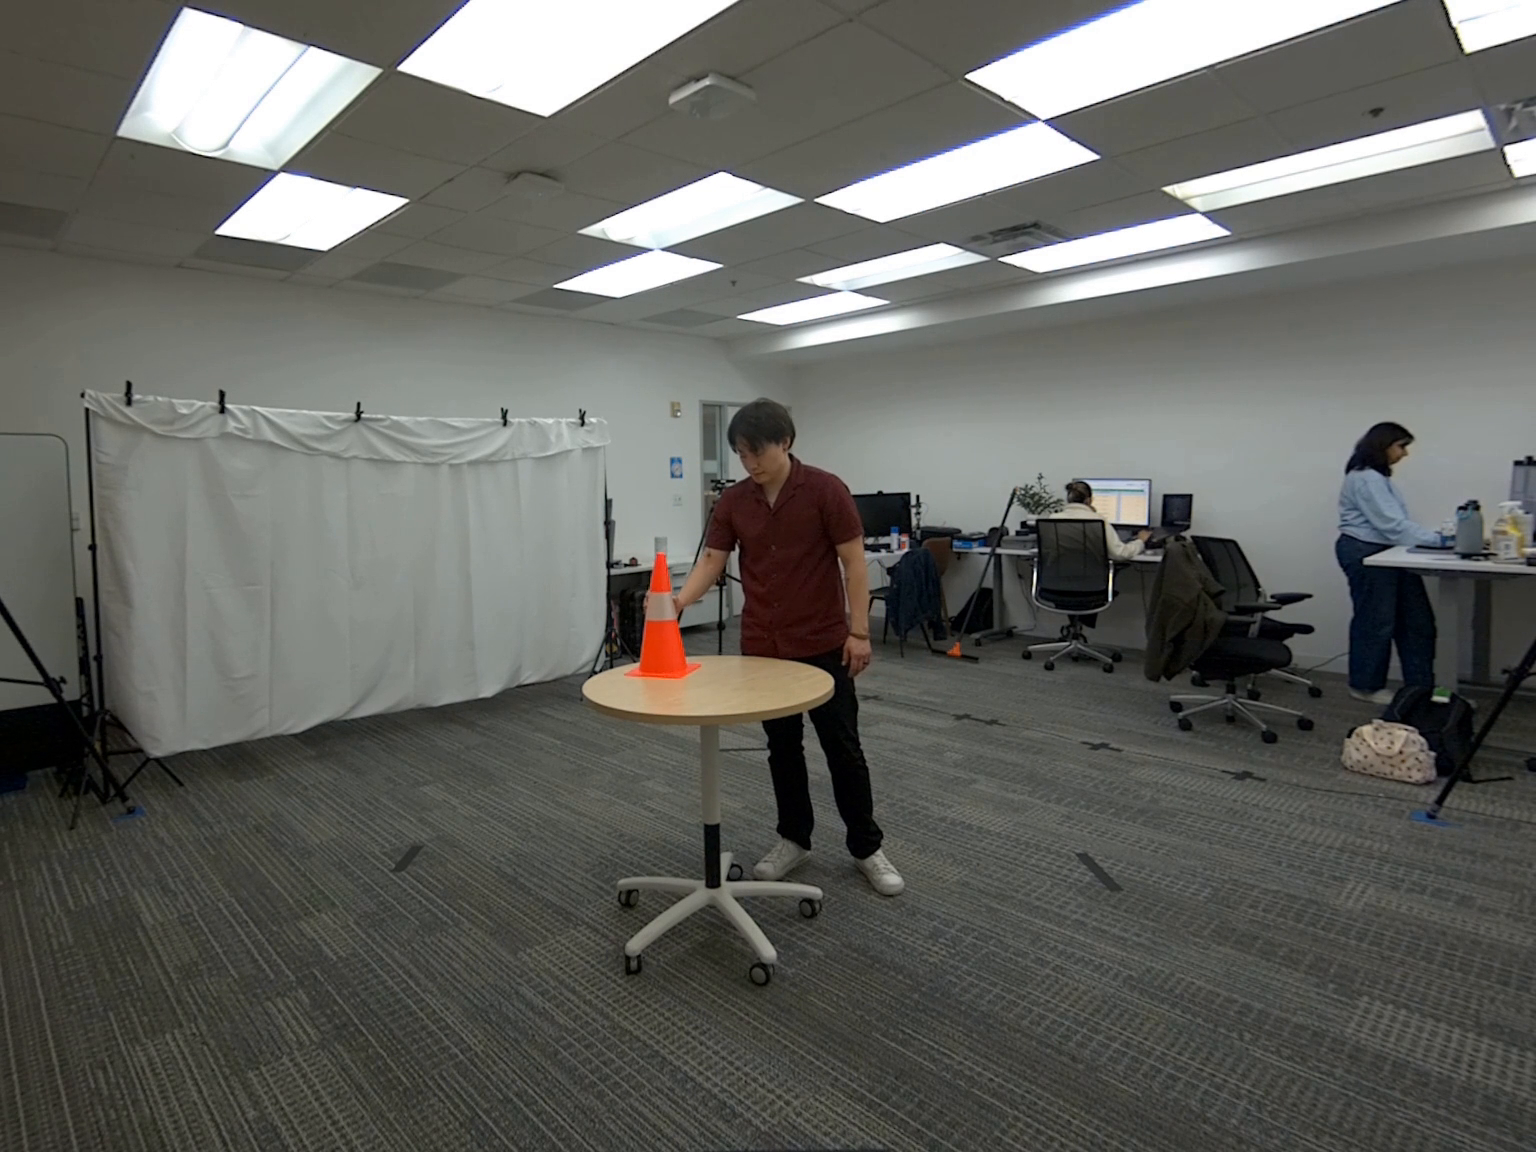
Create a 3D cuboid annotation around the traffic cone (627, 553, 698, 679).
[{"bbox_3d":[-0.343,0.107,2.772,0.206,0.383,0.202,-1,2,14],"label":"traffic cone"}]
